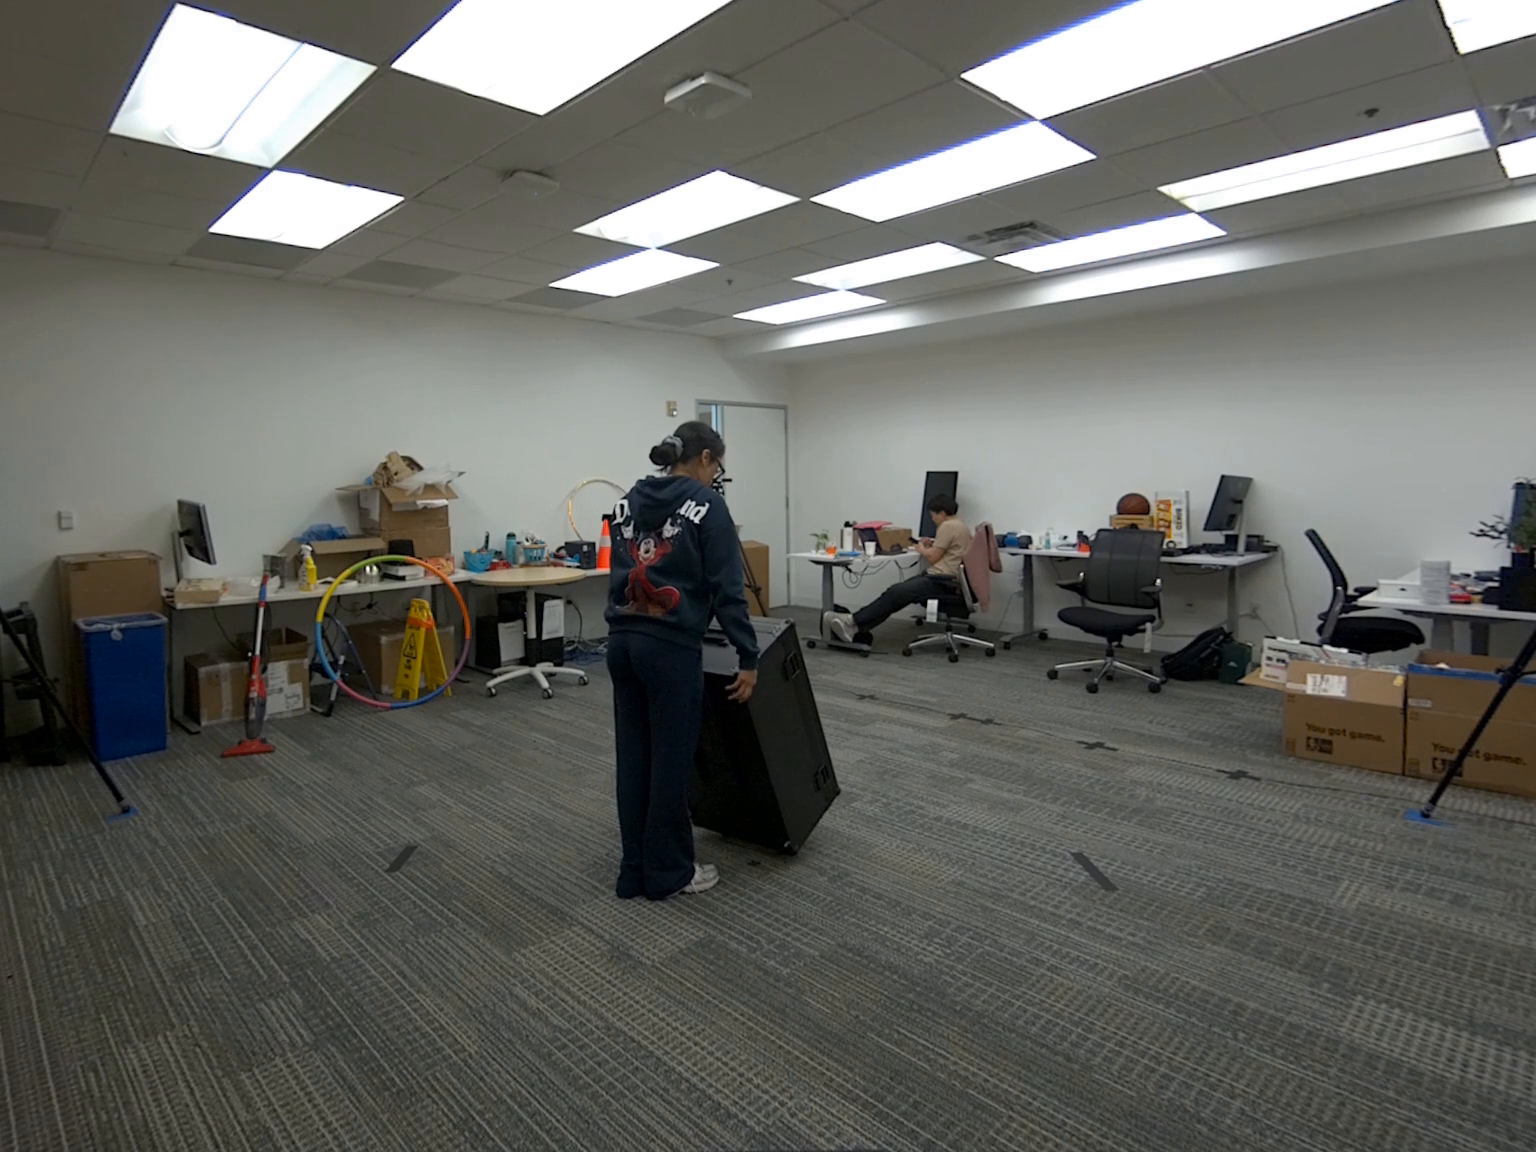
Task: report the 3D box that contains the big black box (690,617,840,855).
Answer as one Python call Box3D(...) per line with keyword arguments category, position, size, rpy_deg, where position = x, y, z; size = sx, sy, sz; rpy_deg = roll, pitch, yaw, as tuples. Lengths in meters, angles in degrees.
Box3D(category="big black box", position=(-0.092, 0.605, 3.193), size=(0.537, 0.841, 0.394), rpy_deg=(3, 29, 37))
